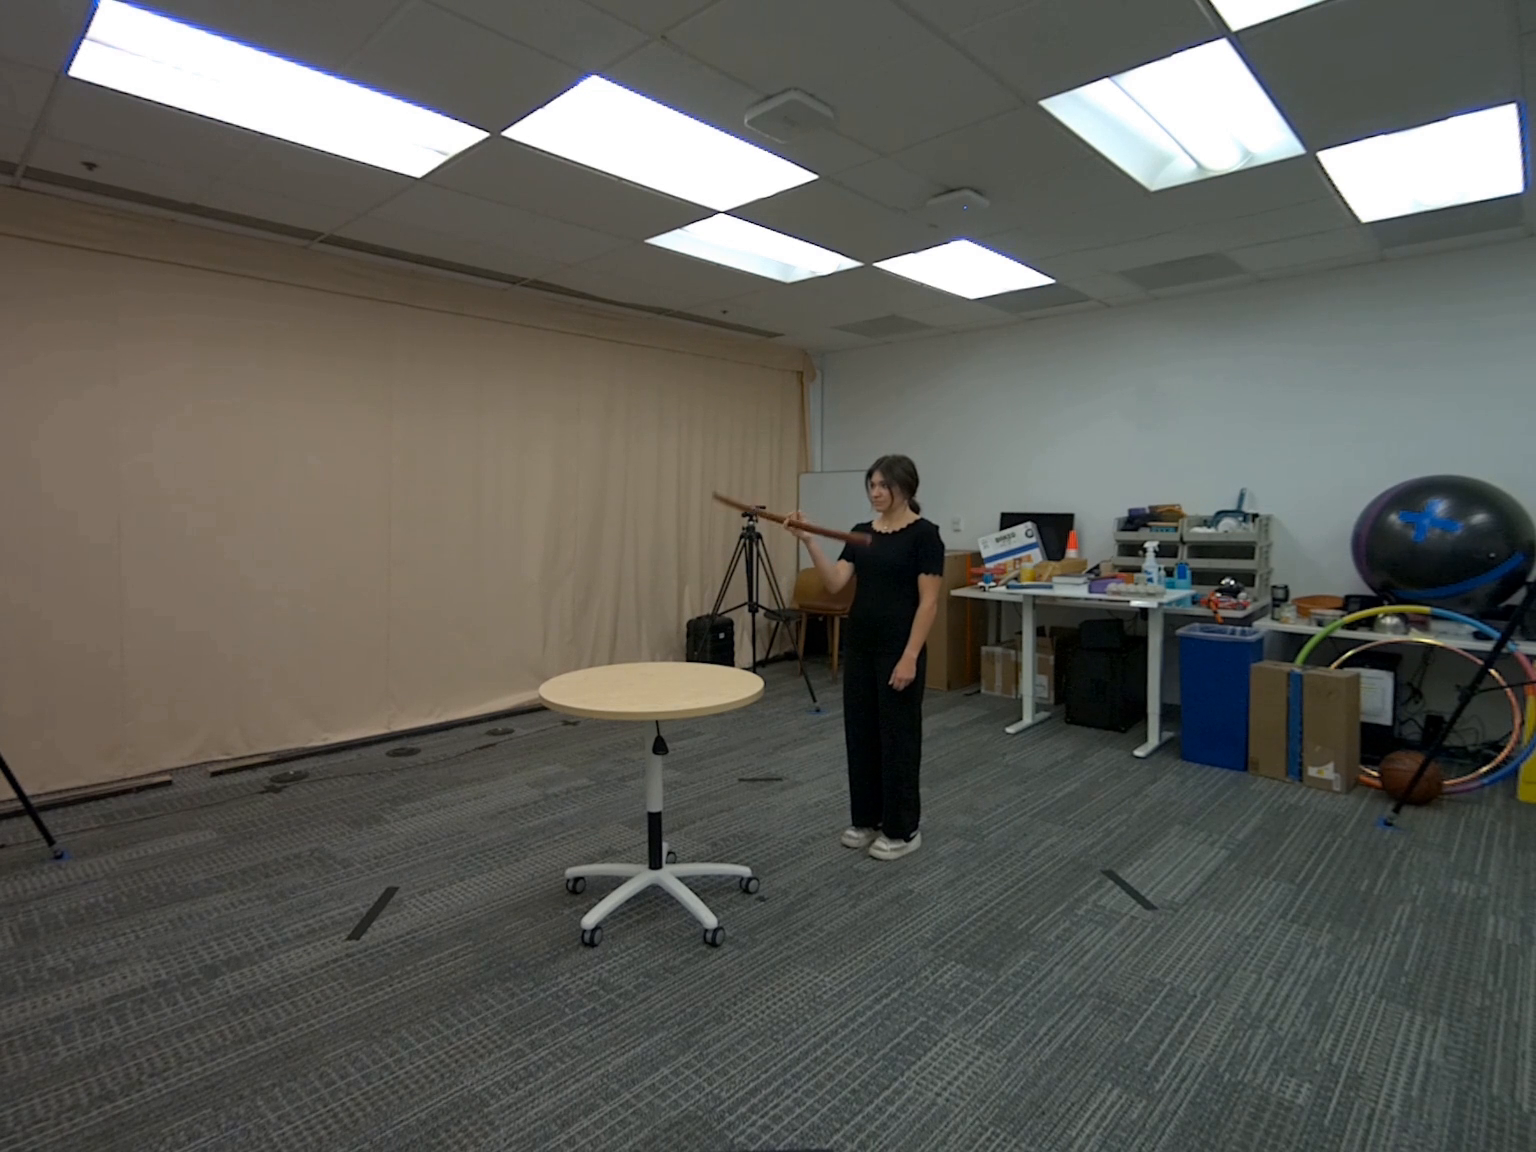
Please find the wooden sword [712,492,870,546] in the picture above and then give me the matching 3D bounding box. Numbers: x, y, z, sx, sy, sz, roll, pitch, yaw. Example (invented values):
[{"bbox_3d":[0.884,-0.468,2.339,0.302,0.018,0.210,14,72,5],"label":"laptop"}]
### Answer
[{"bbox_3d":[0.071,-0.211,3.308,0.023,0.051,1.061,-2,15,-35],"label":"wooden sword"}]
